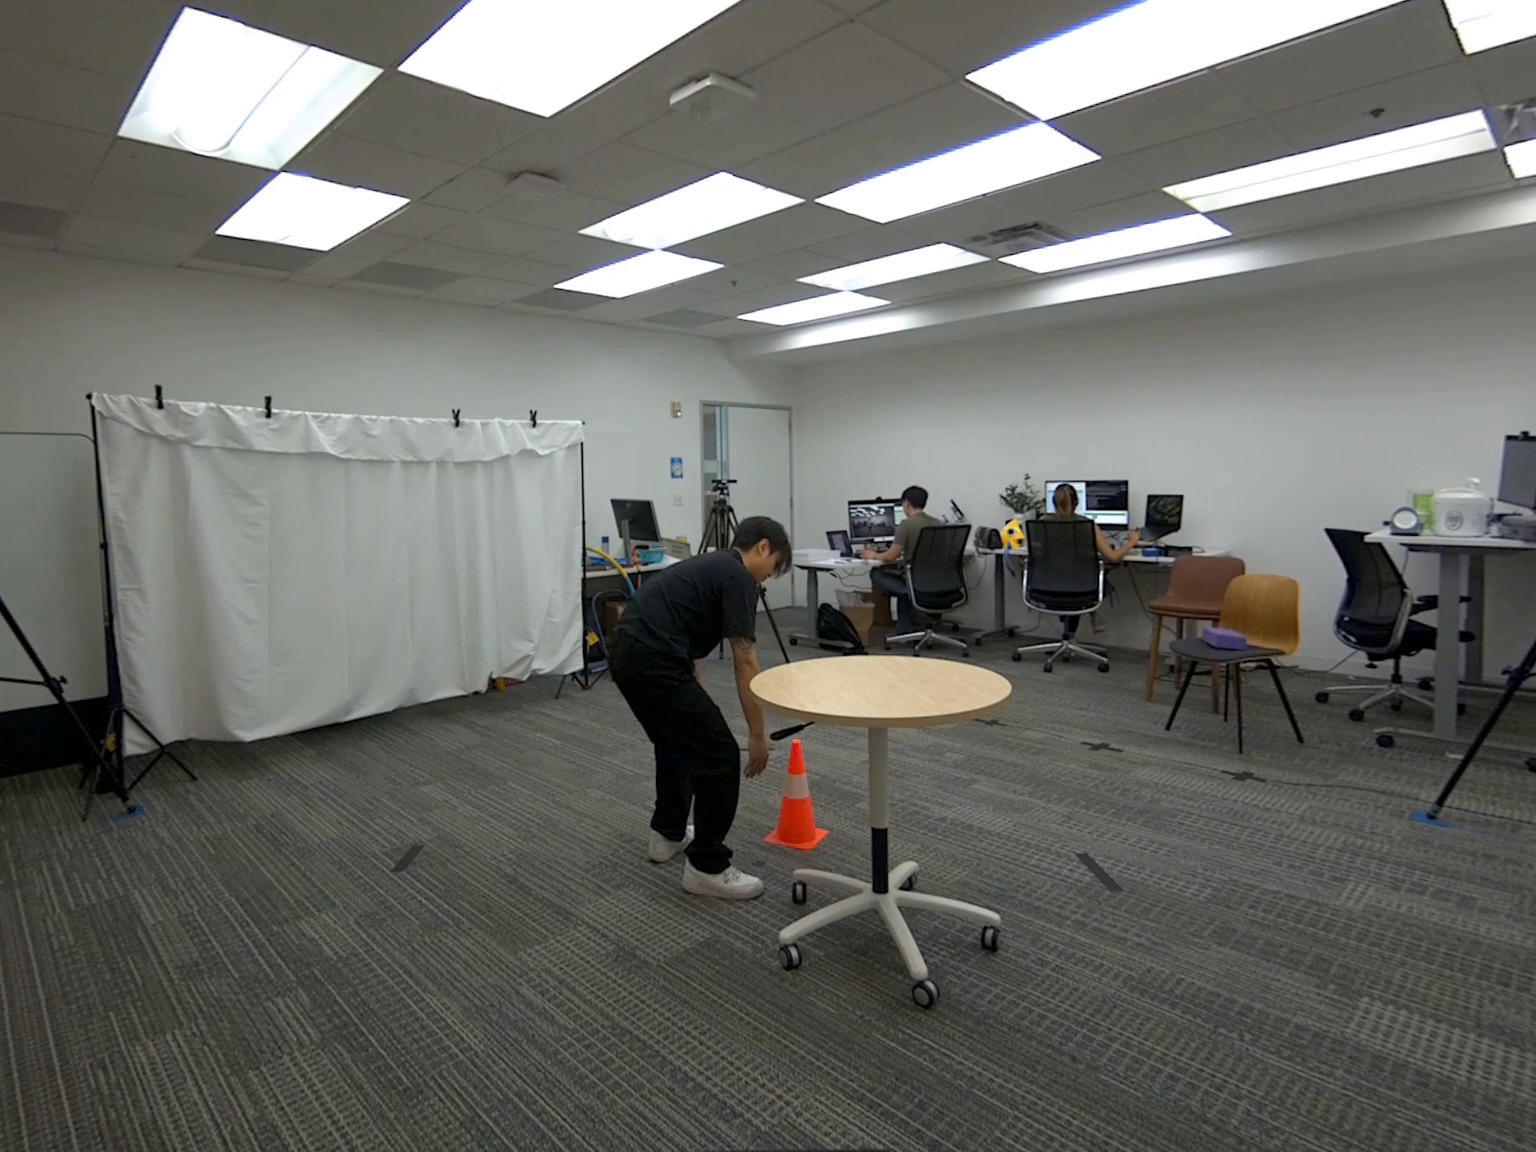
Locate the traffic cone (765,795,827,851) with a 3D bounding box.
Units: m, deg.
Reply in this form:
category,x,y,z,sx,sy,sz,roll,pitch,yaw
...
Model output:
category,x,y,z,sx,sy,sz,roll,pitch,yaw
traffic cone,0.105,0.837,3.335,0.208,0.382,0.201,0,4,25
